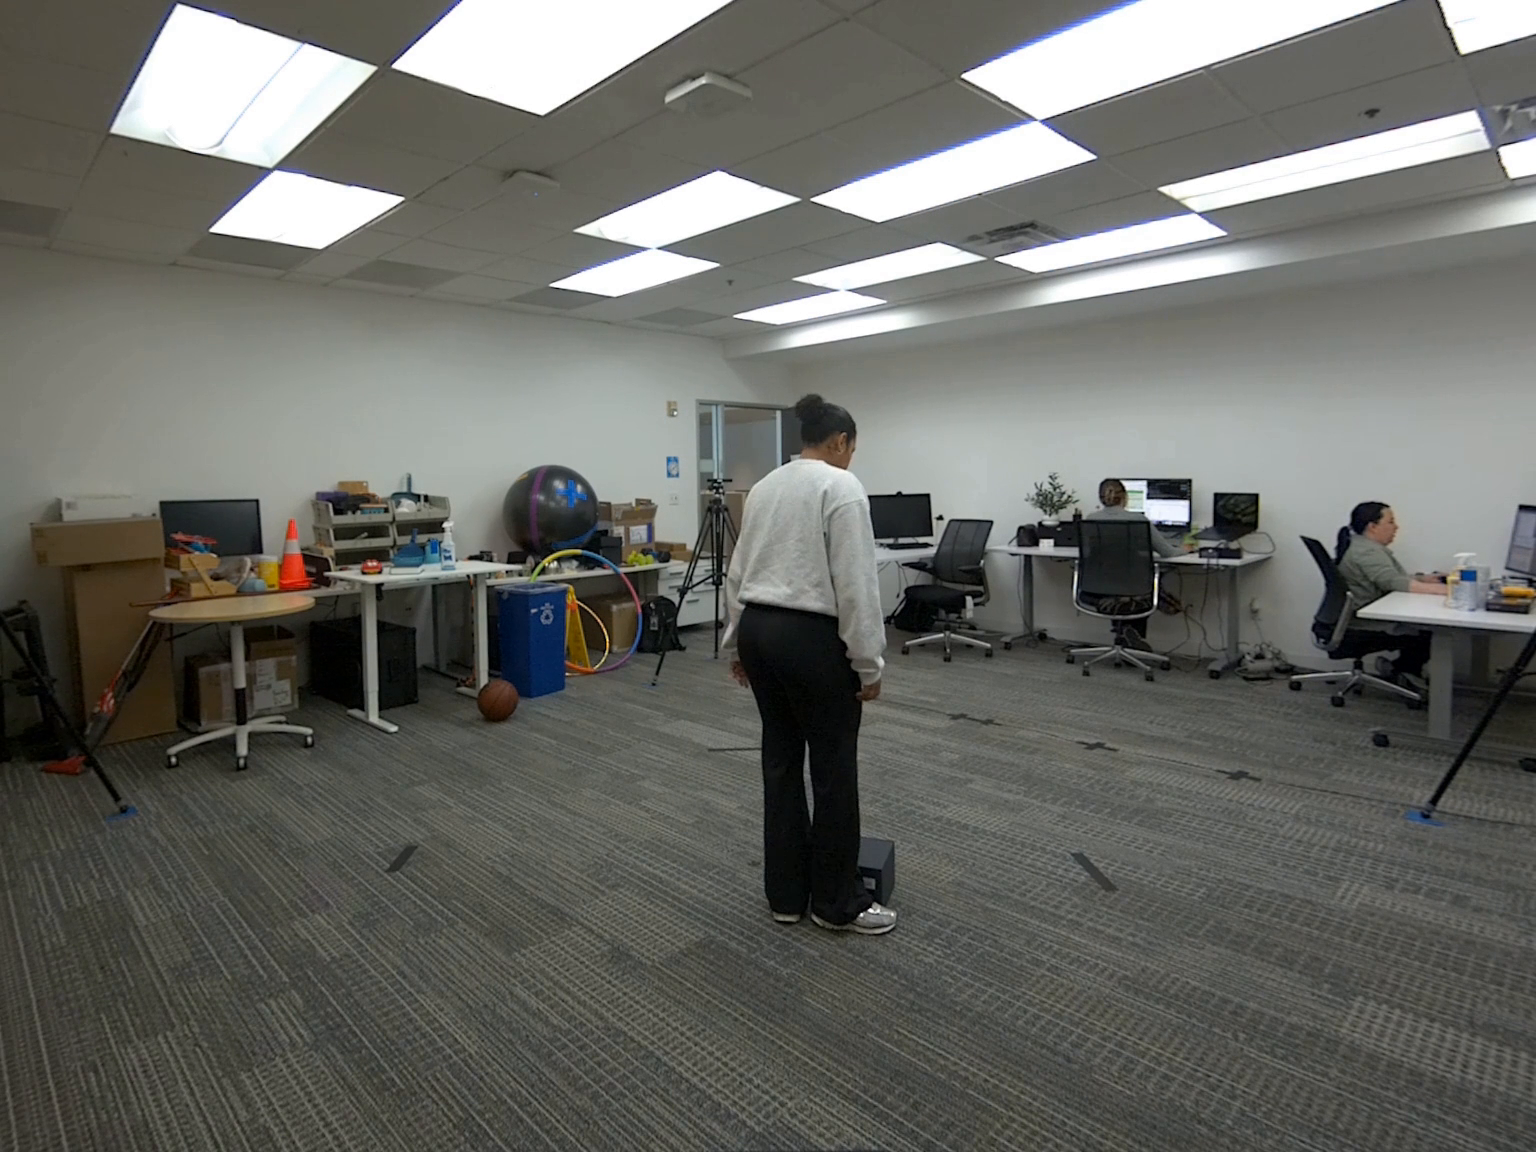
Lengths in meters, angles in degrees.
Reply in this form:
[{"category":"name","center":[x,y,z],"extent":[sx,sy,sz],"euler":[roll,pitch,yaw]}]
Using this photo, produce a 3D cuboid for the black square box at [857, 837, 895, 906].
[{"category":"black square box","center":[0.303,0.984,2.849],"extent":[0.221,0.155,0.224],"euler":[1,6,20]}]
